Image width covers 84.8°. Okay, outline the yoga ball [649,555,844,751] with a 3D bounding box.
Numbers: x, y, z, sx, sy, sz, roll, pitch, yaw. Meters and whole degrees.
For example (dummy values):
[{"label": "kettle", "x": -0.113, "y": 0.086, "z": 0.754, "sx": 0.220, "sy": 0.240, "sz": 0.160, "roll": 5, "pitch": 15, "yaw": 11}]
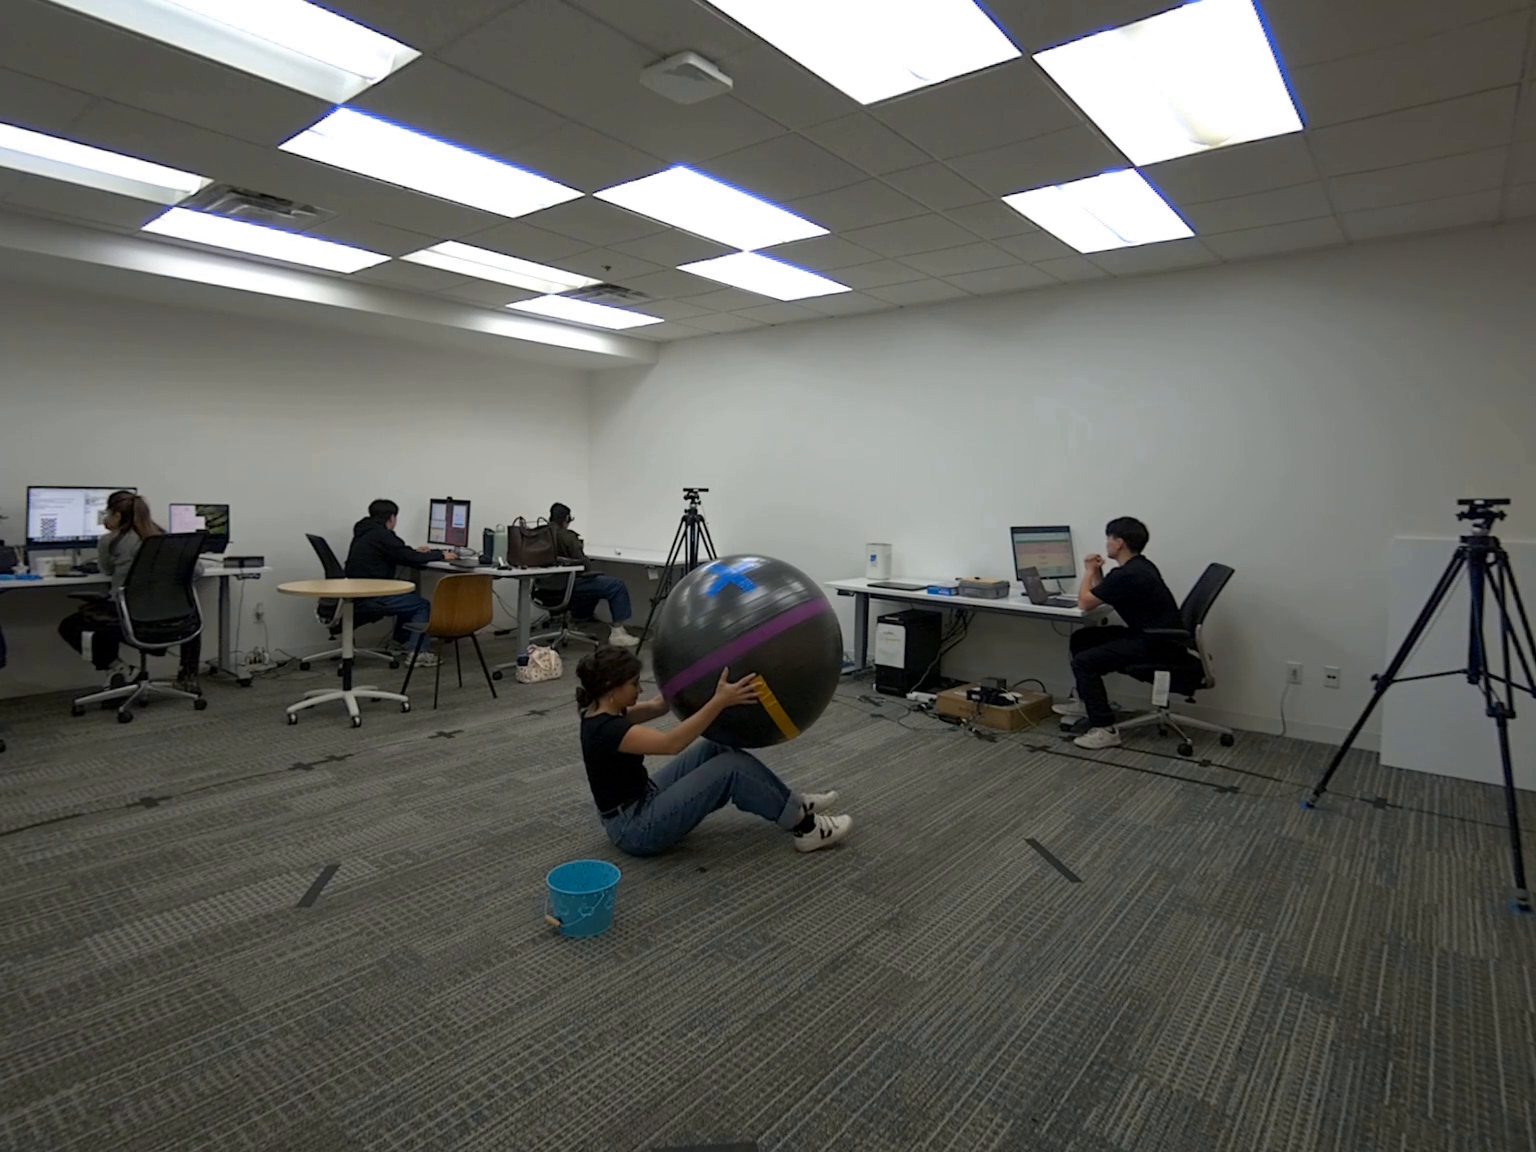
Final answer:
[{"label": "yoga ball", "x": -0.092, "y": 0.293, "z": 3.355, "sx": 0.757, "sy": 0.756, "sz": 0.761, "roll": 1, "pitch": 4, "yaw": -2}]
